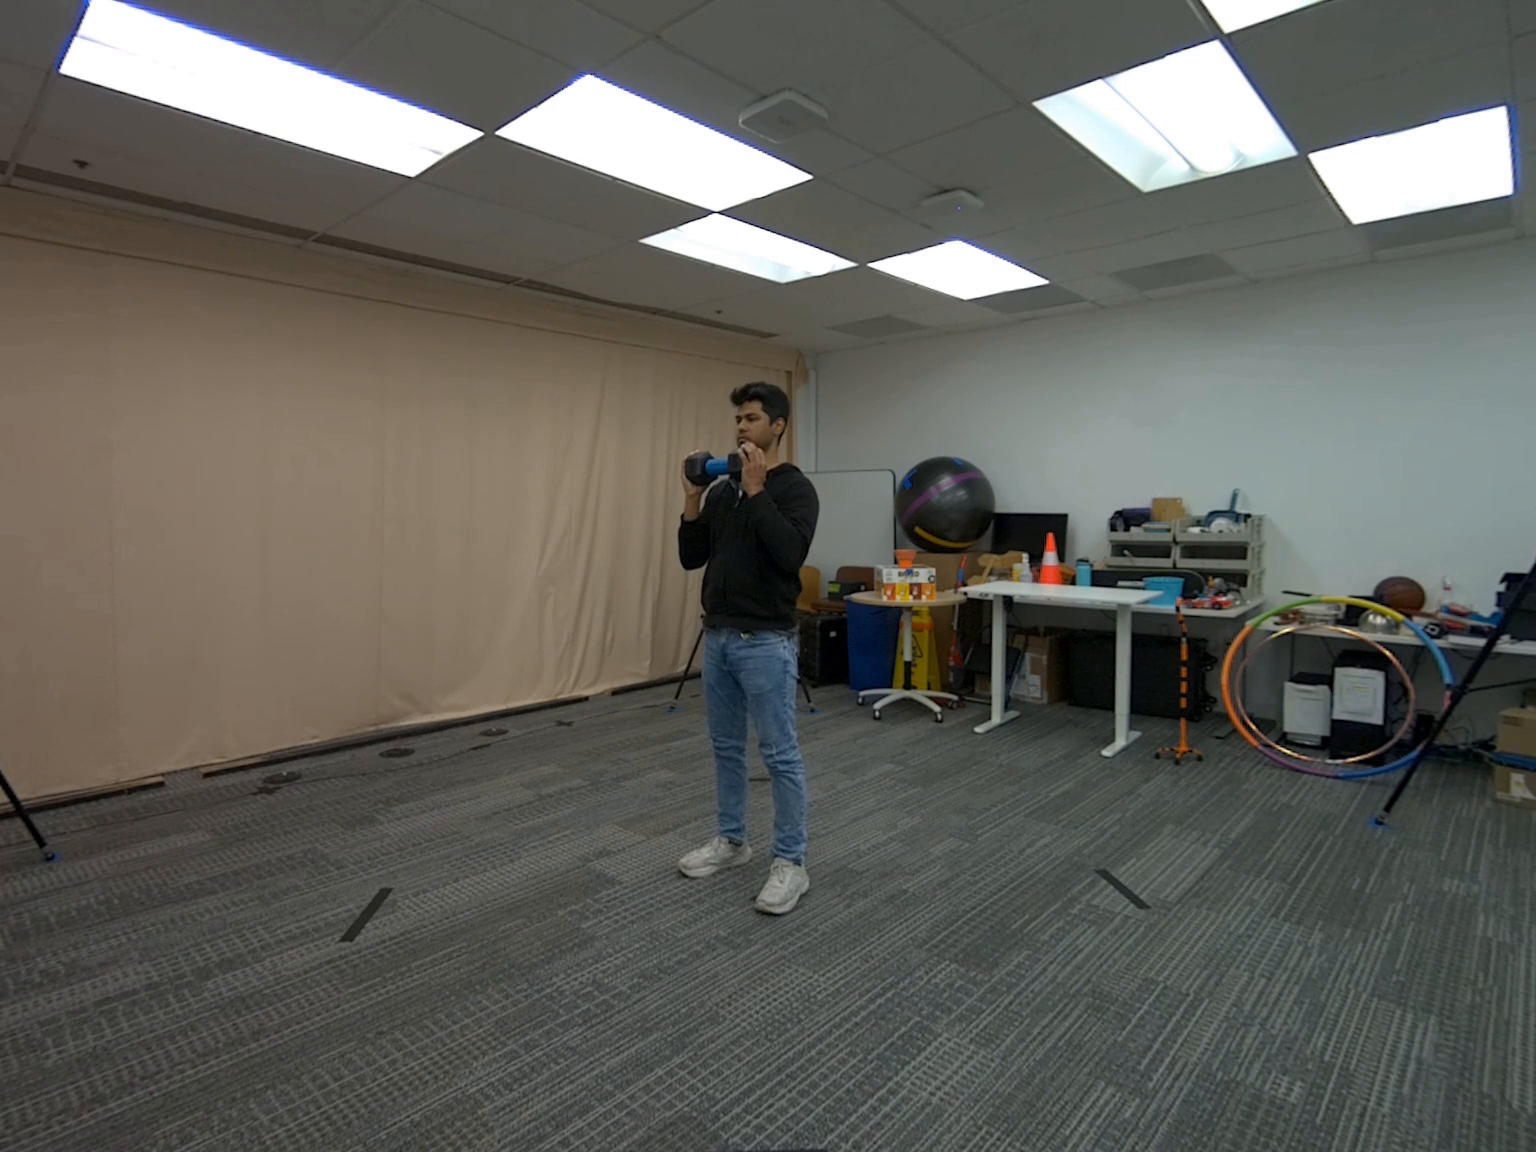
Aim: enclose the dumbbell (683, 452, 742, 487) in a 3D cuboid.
[{"bbox_3d":[-0.151,-0.379,2.943,0.303,0.123,0.105,0,-3,42],"label":"dumbbell"}]
